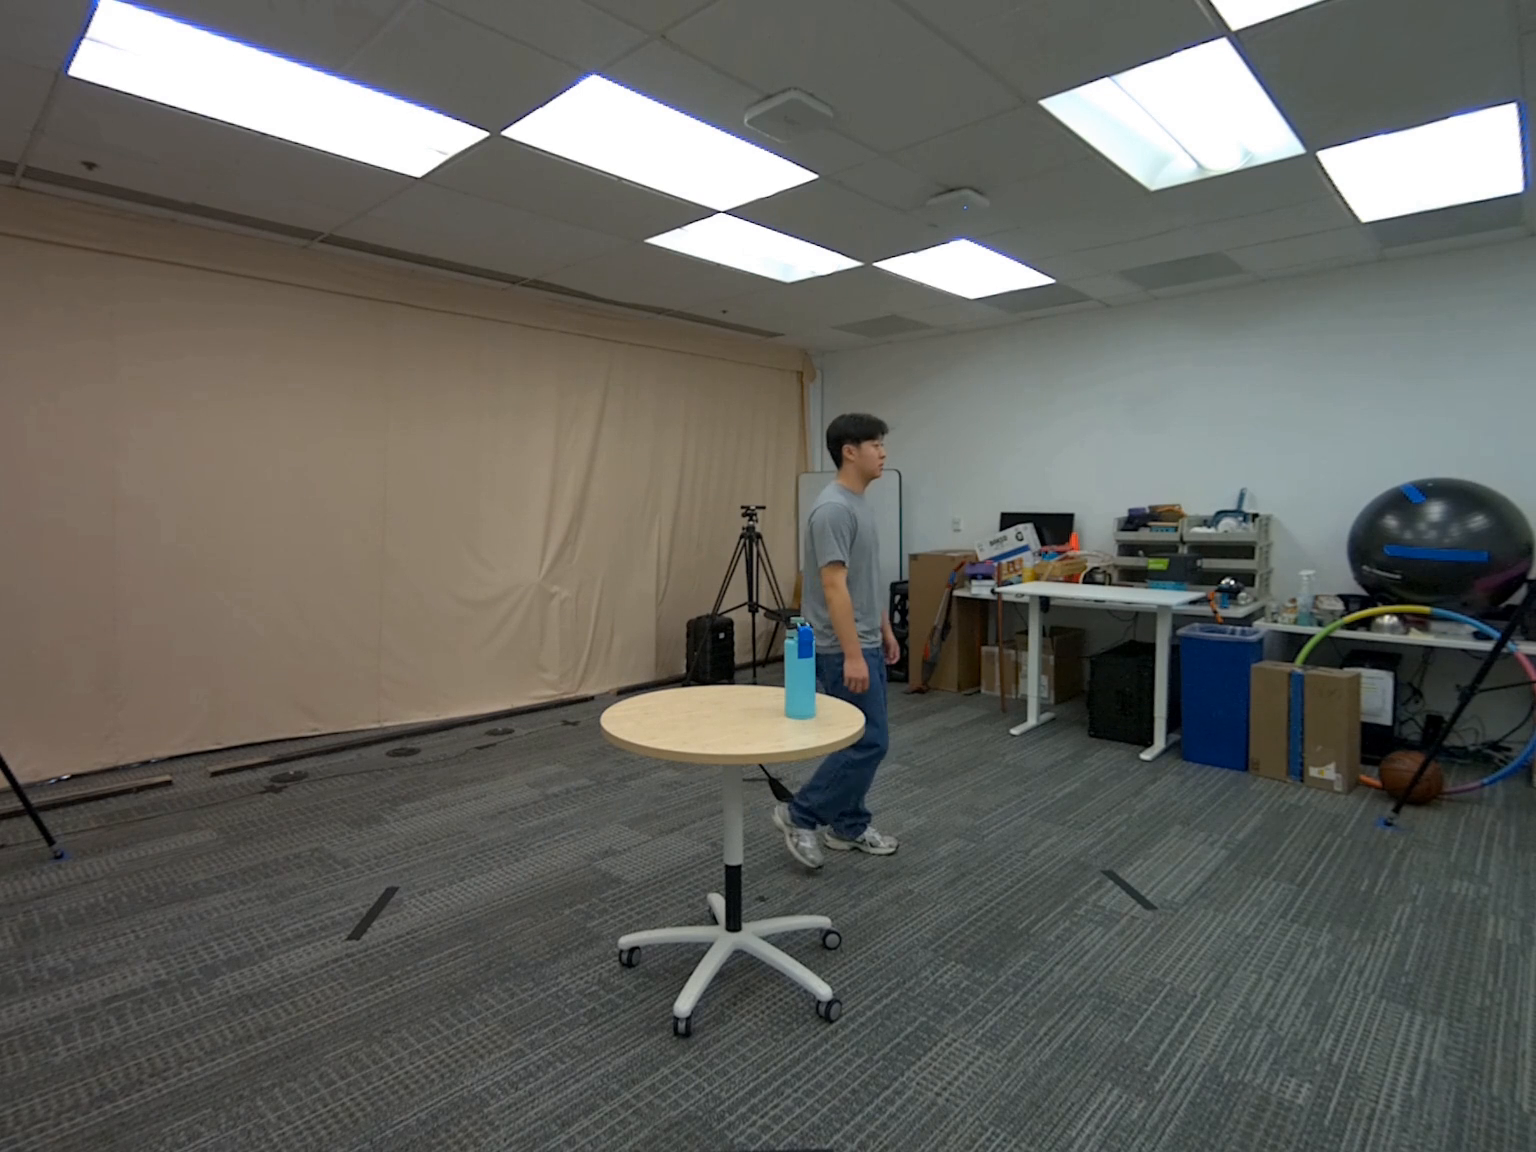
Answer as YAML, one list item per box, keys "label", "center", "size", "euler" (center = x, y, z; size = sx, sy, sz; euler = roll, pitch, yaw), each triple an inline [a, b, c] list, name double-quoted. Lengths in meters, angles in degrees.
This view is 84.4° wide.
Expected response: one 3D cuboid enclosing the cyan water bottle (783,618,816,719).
- label: "cyan water bottle"
  center: [0.101, 0.268, 2.427]
  size: [0.092, 0.283, 0.093]
  euler: [1, 4, -2]
